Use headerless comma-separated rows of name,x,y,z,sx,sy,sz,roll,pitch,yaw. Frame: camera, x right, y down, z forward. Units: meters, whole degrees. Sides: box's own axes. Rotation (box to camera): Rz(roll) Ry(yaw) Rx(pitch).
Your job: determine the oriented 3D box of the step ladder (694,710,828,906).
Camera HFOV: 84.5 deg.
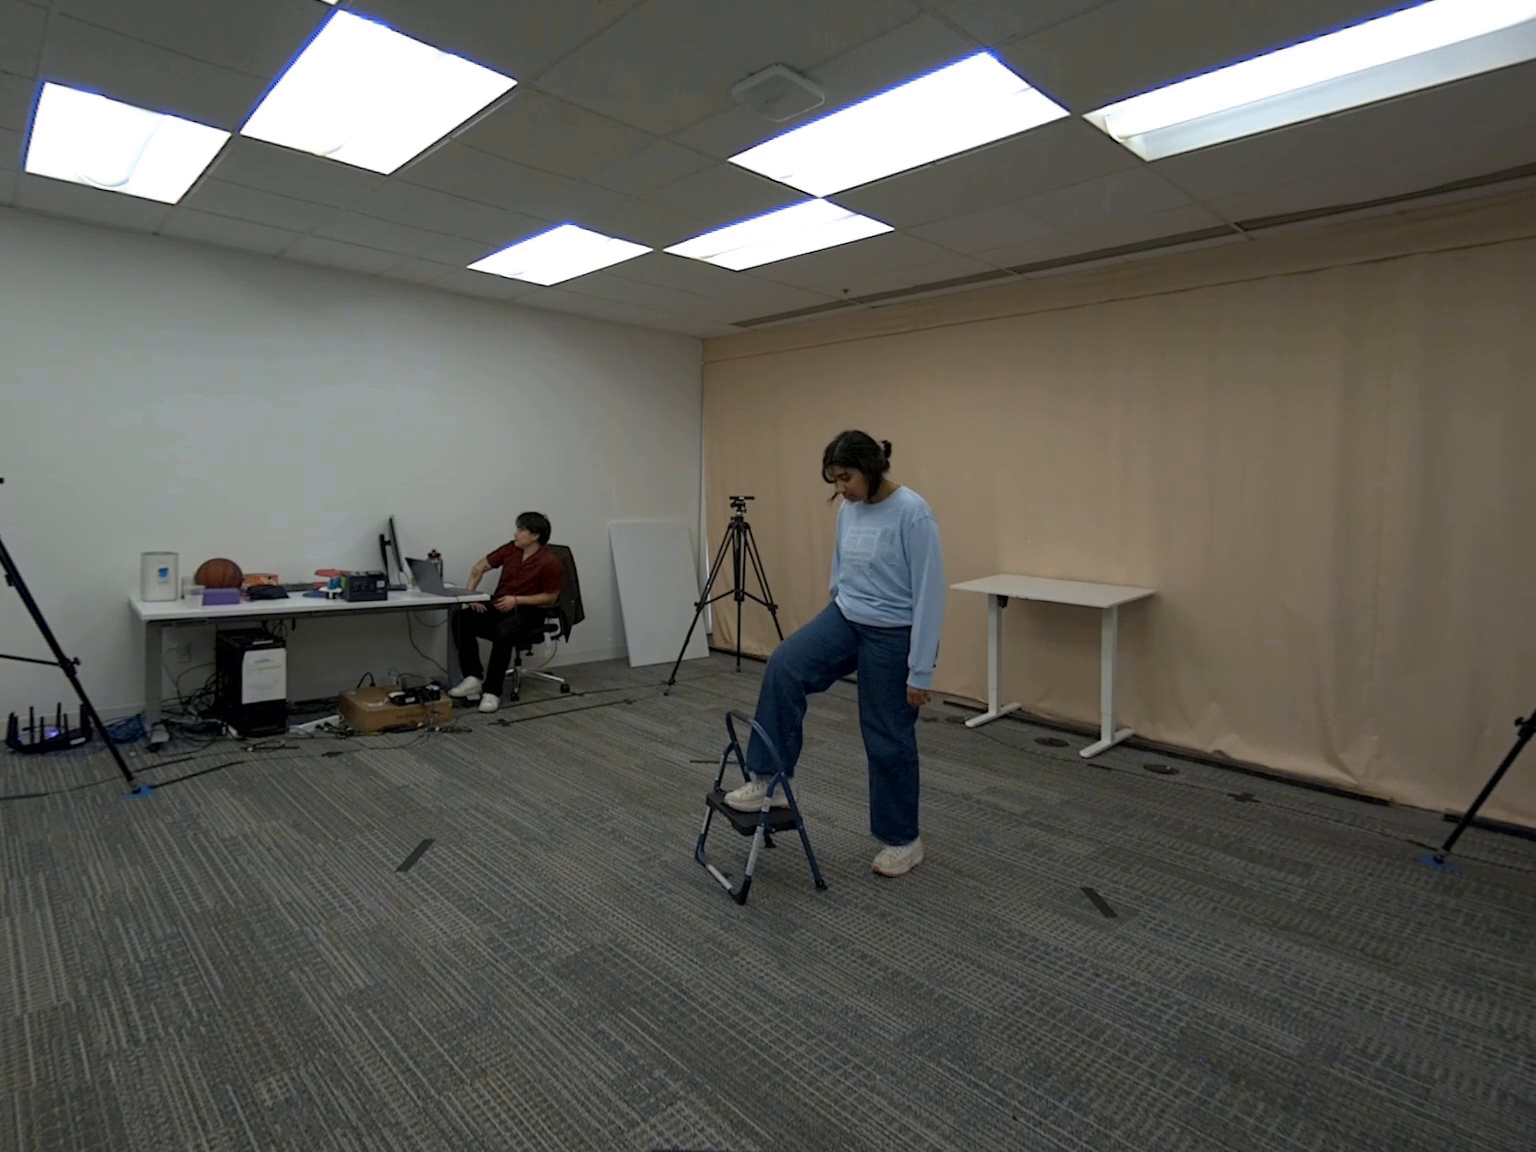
step ladder,-0.037,0.805,3.109,0.343,0.605,0.440,0,4,-27
